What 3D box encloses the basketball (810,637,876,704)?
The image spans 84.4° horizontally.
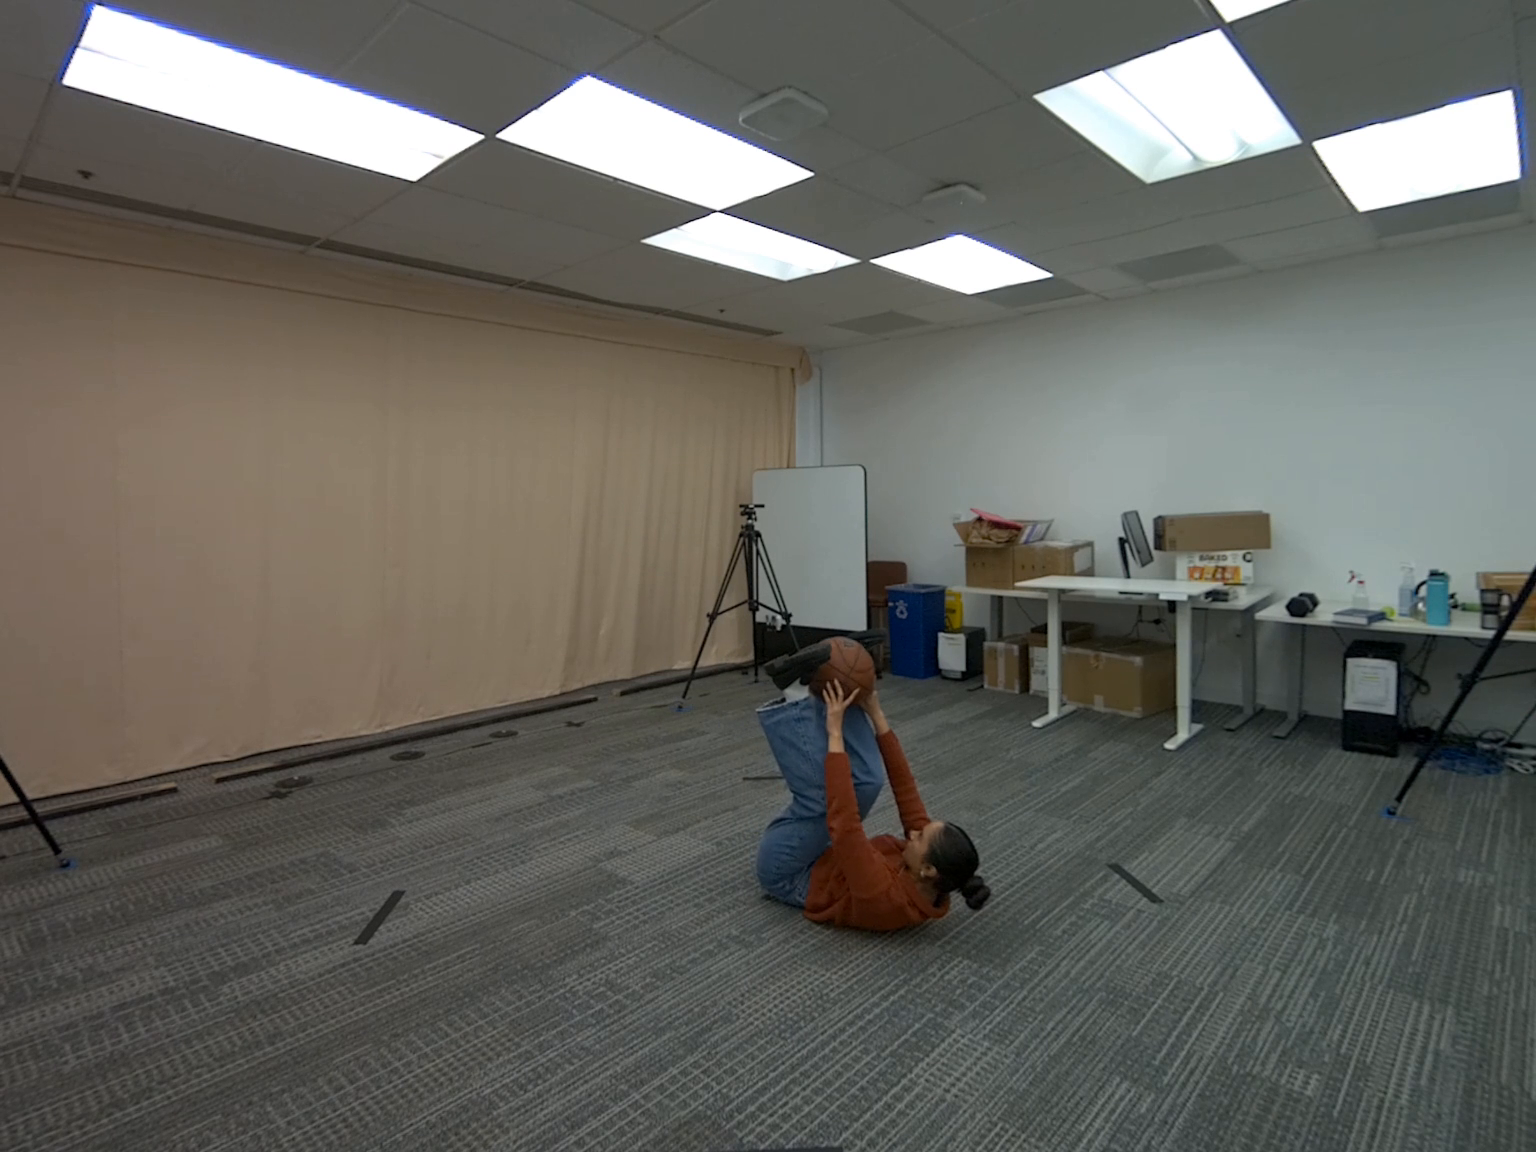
[{"bbox_3d":[0.235,0.326,2.866,0.235,0.235,0.237,2,5,-2],"label":"basketball"}]
